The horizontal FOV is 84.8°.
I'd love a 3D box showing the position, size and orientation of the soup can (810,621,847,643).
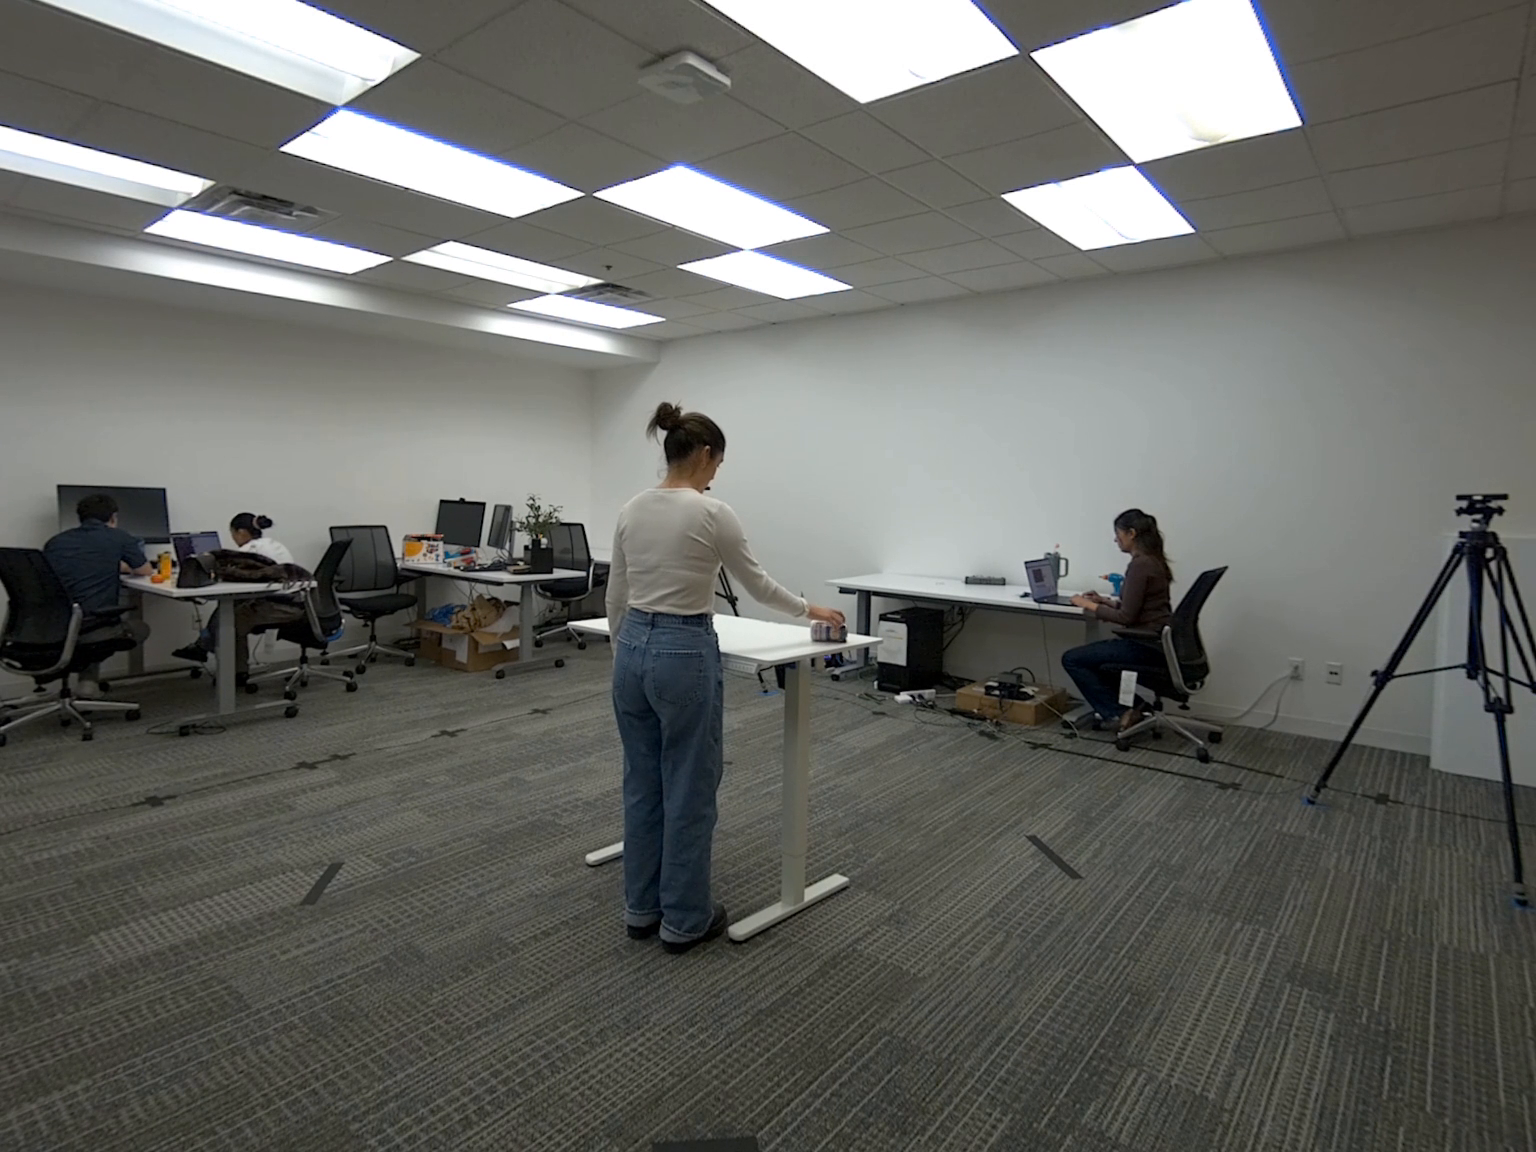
[{"bbox_3d":[0.192,0.181,2.843,0.122,0.067,0.067,2,4,3],"label":"soup can"}]
